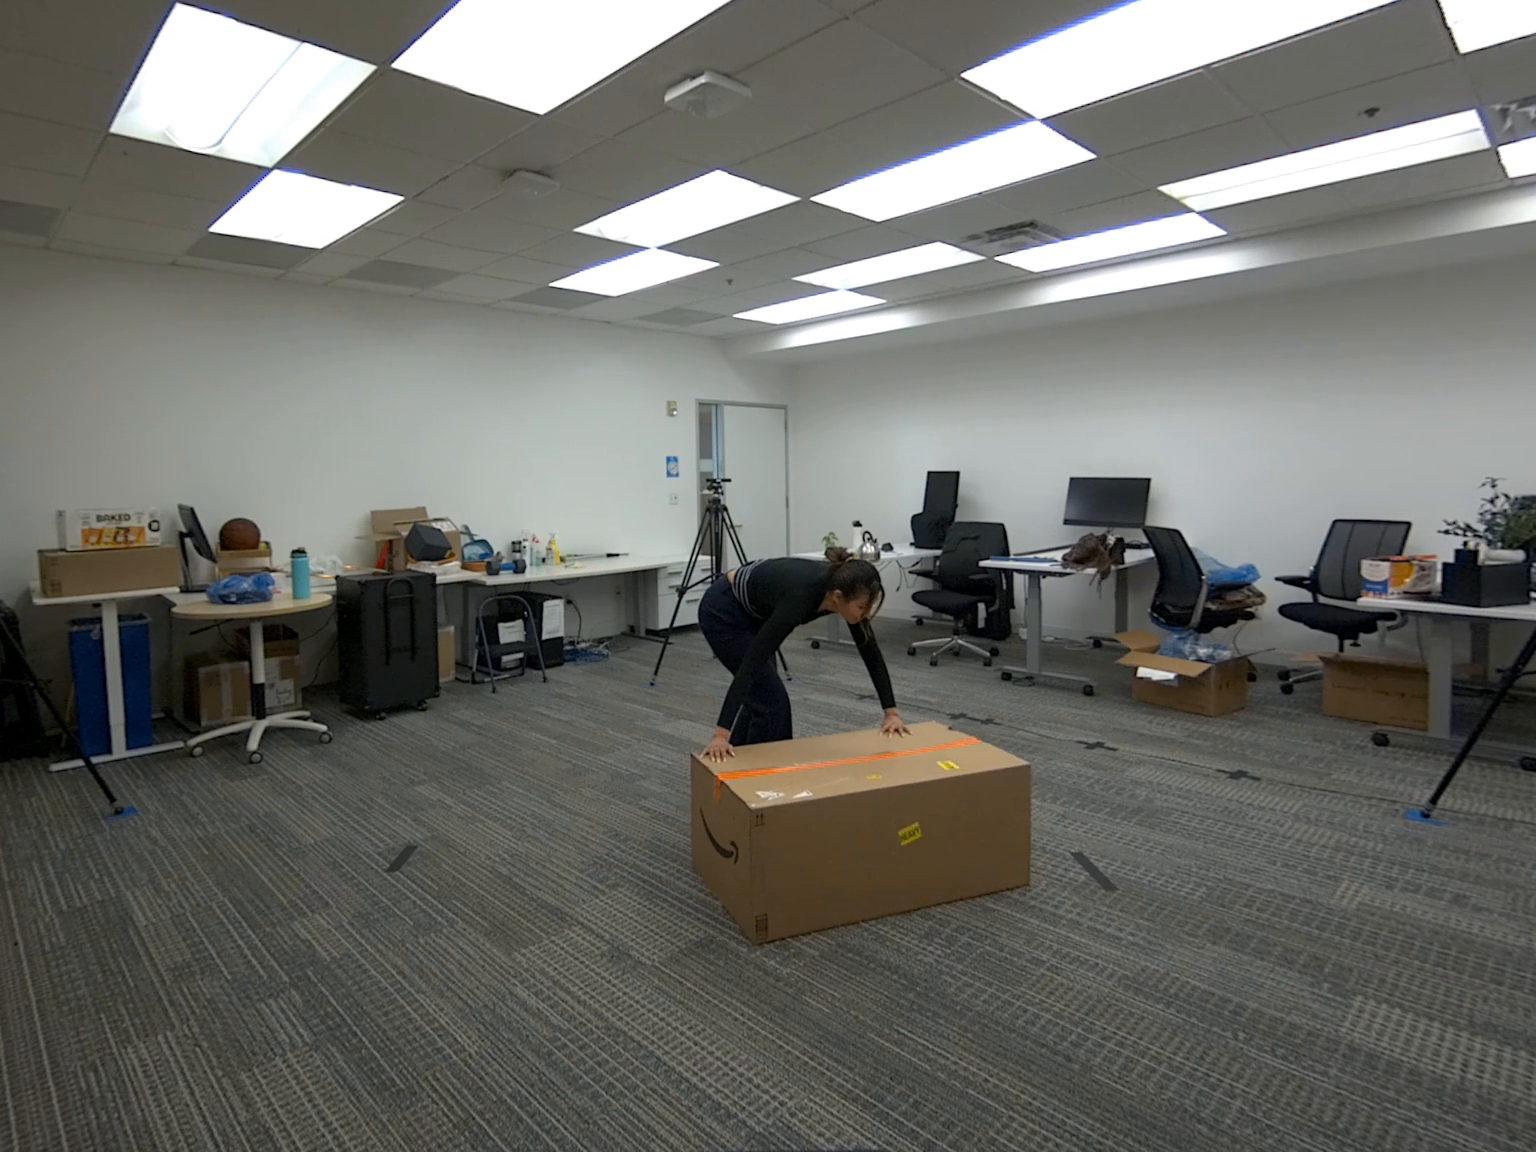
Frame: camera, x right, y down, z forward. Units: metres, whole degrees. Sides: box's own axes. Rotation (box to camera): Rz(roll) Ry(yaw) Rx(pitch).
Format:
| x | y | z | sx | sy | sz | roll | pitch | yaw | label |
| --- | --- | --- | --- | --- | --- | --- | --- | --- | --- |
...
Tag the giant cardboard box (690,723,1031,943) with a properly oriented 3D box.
| x | y | z | sx | sy | sz | roll | pitch | yaw | label |
| --- | --- | --- | --- | --- | --- | --- | --- | --- | --- |
| 0.307 | 0.838 | 2.979 | 1.007 | 0.425 | 0.590 | -3 | 5 | -21 | giant cardboard box |
